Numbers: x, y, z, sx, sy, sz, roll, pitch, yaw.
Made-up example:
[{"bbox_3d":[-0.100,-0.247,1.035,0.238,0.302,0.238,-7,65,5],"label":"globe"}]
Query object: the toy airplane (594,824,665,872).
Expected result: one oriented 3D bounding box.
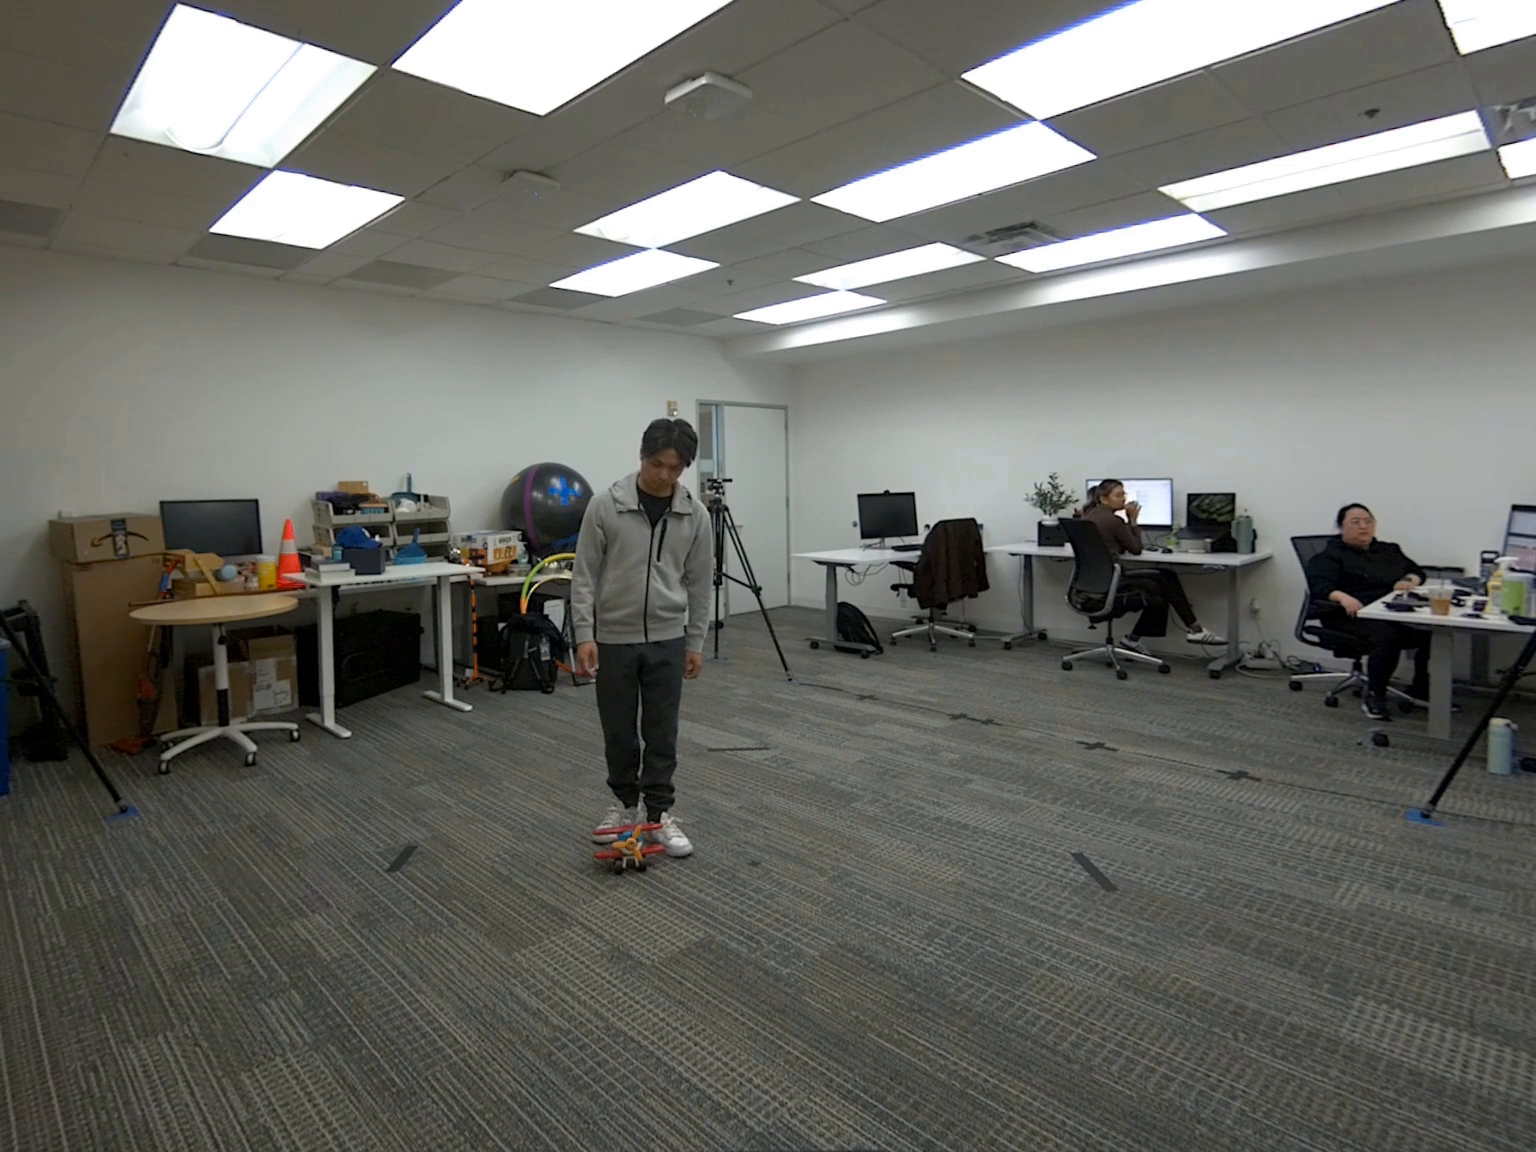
[{"bbox_3d":[-0.527,0.980,3.133,0.245,0.155,0.267,-8,10,-41],"label":"toy airplane"}]
